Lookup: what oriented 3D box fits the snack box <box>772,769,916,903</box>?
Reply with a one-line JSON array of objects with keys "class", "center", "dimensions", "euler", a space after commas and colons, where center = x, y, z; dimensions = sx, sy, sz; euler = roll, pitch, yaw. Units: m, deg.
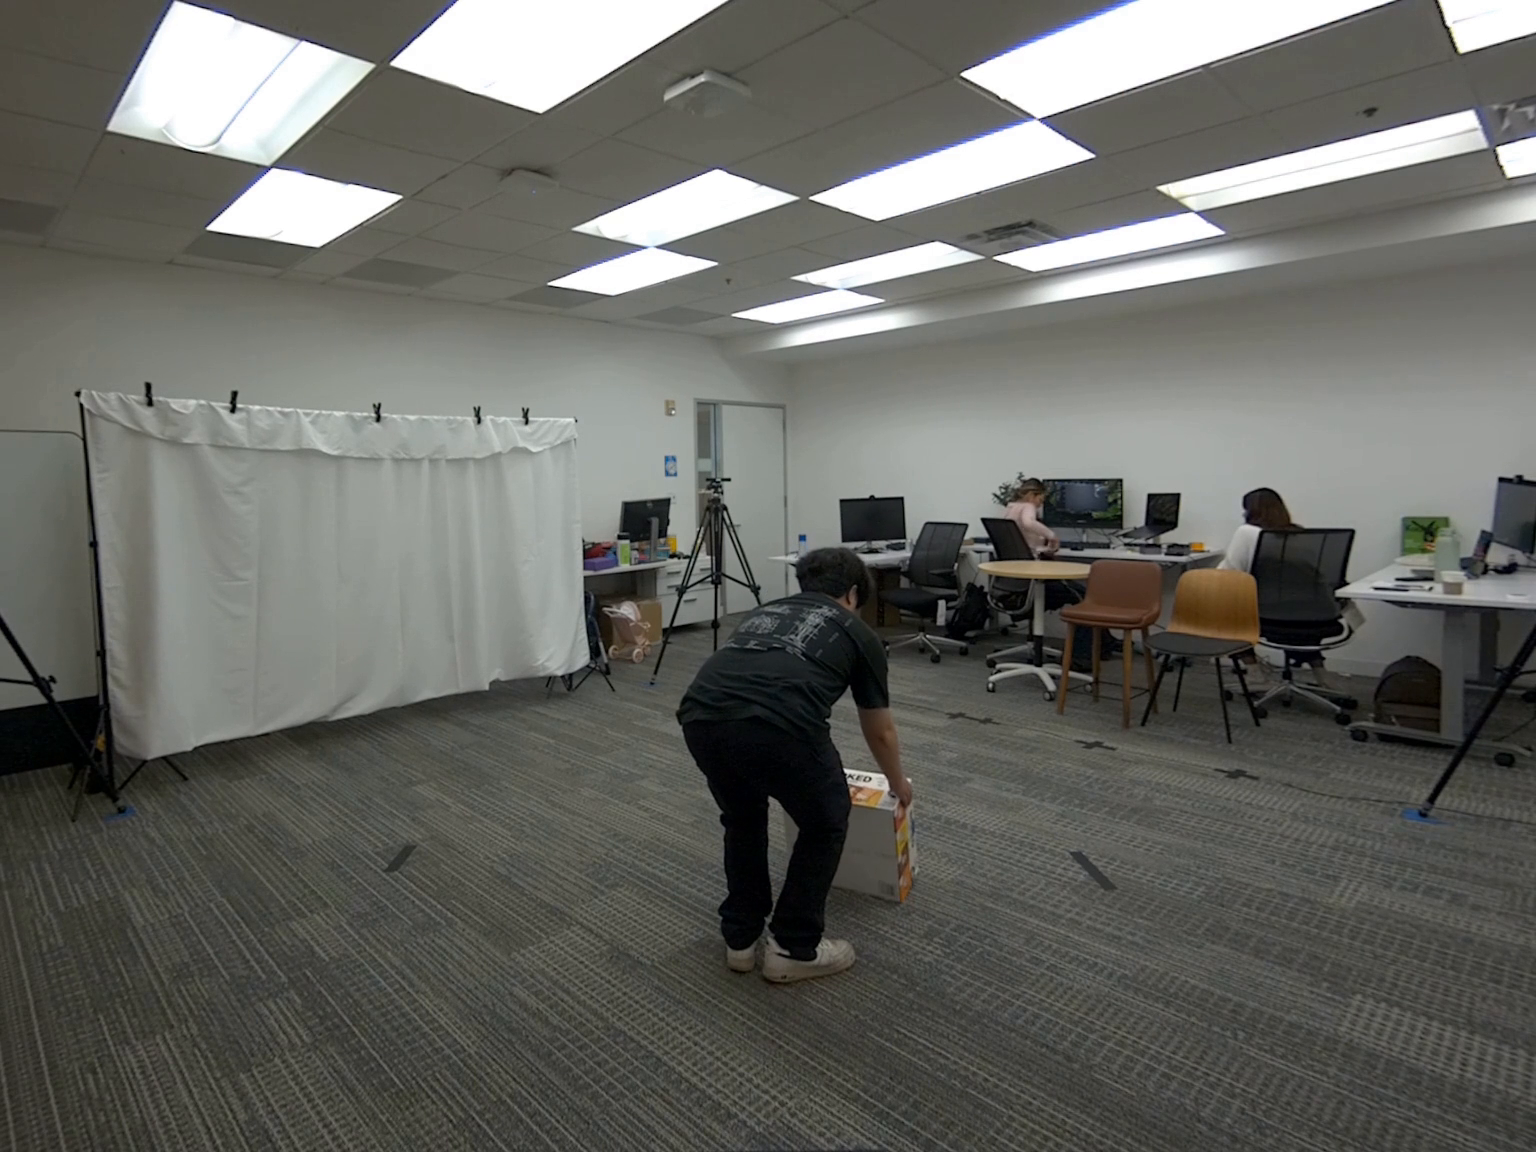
[{"class": "snack box", "center": [0.287, 0.873, 2.940], "dimensions": [0.415, 0.336, 0.203], "euler": [1, 15, 29]}]
